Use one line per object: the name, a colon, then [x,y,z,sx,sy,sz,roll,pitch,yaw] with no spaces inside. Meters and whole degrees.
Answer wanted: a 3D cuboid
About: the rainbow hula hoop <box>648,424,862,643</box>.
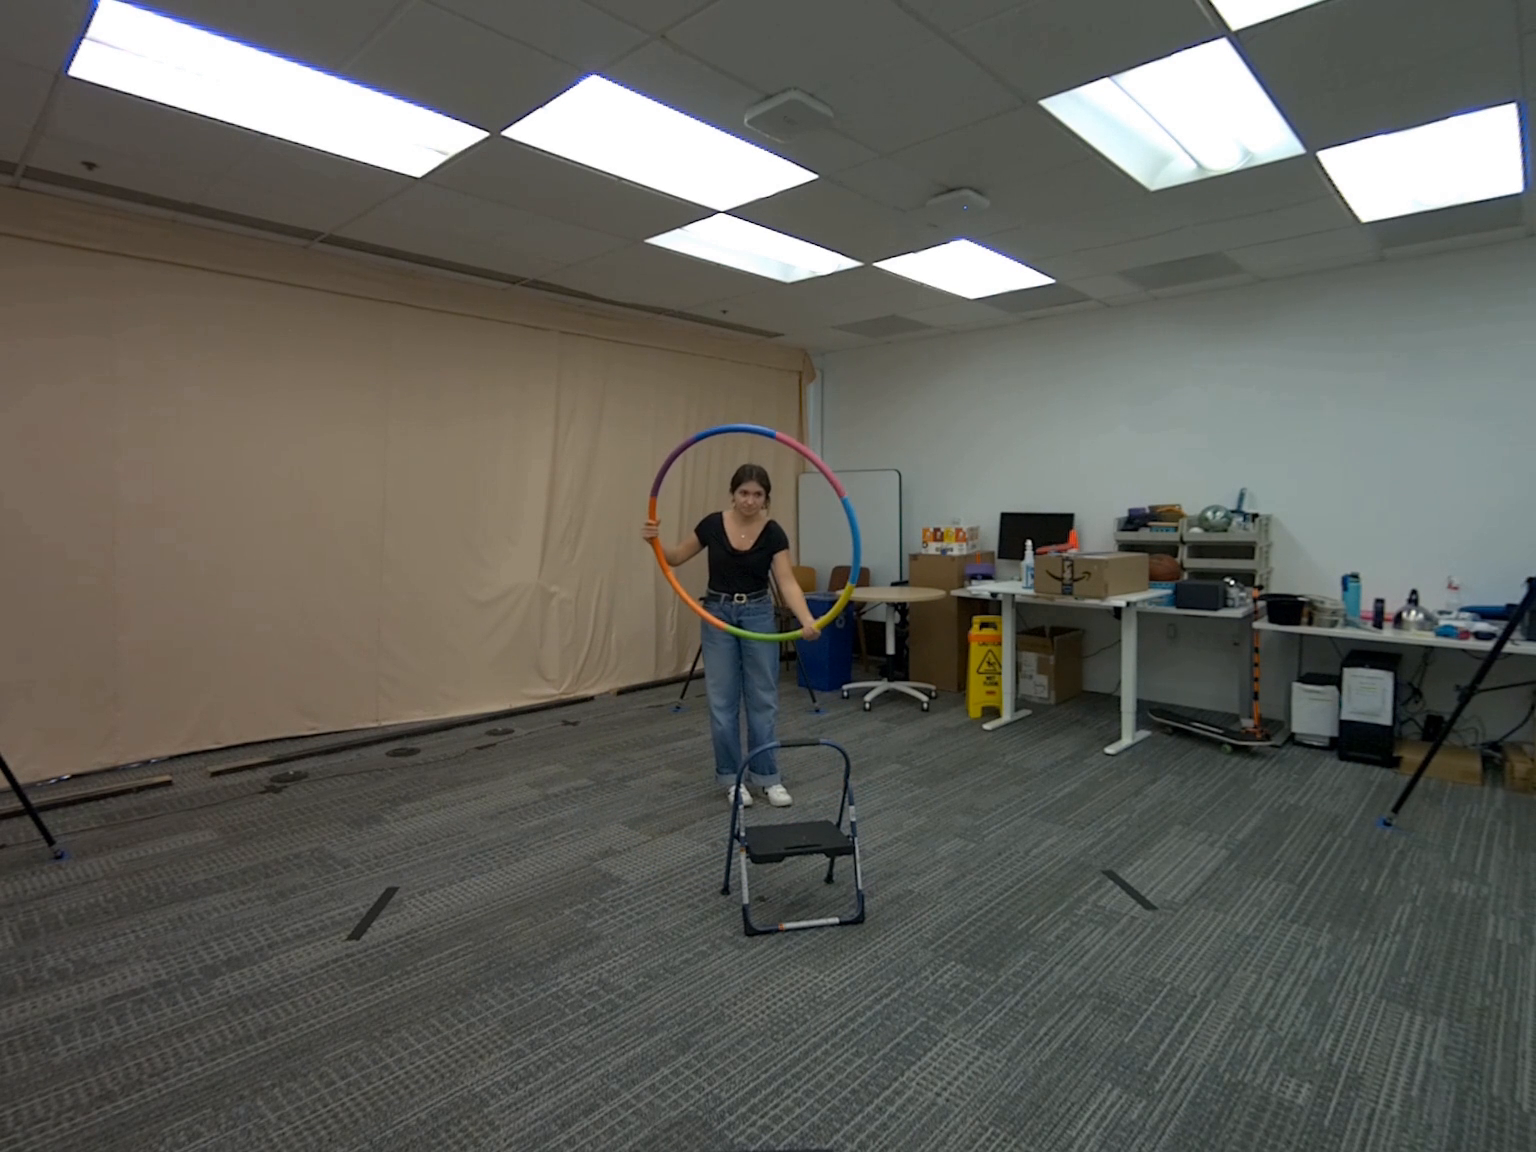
rainbow hula hoop: [-0.068,-0.163,3.566,1.006,0.964,0.035,2,22,29]
